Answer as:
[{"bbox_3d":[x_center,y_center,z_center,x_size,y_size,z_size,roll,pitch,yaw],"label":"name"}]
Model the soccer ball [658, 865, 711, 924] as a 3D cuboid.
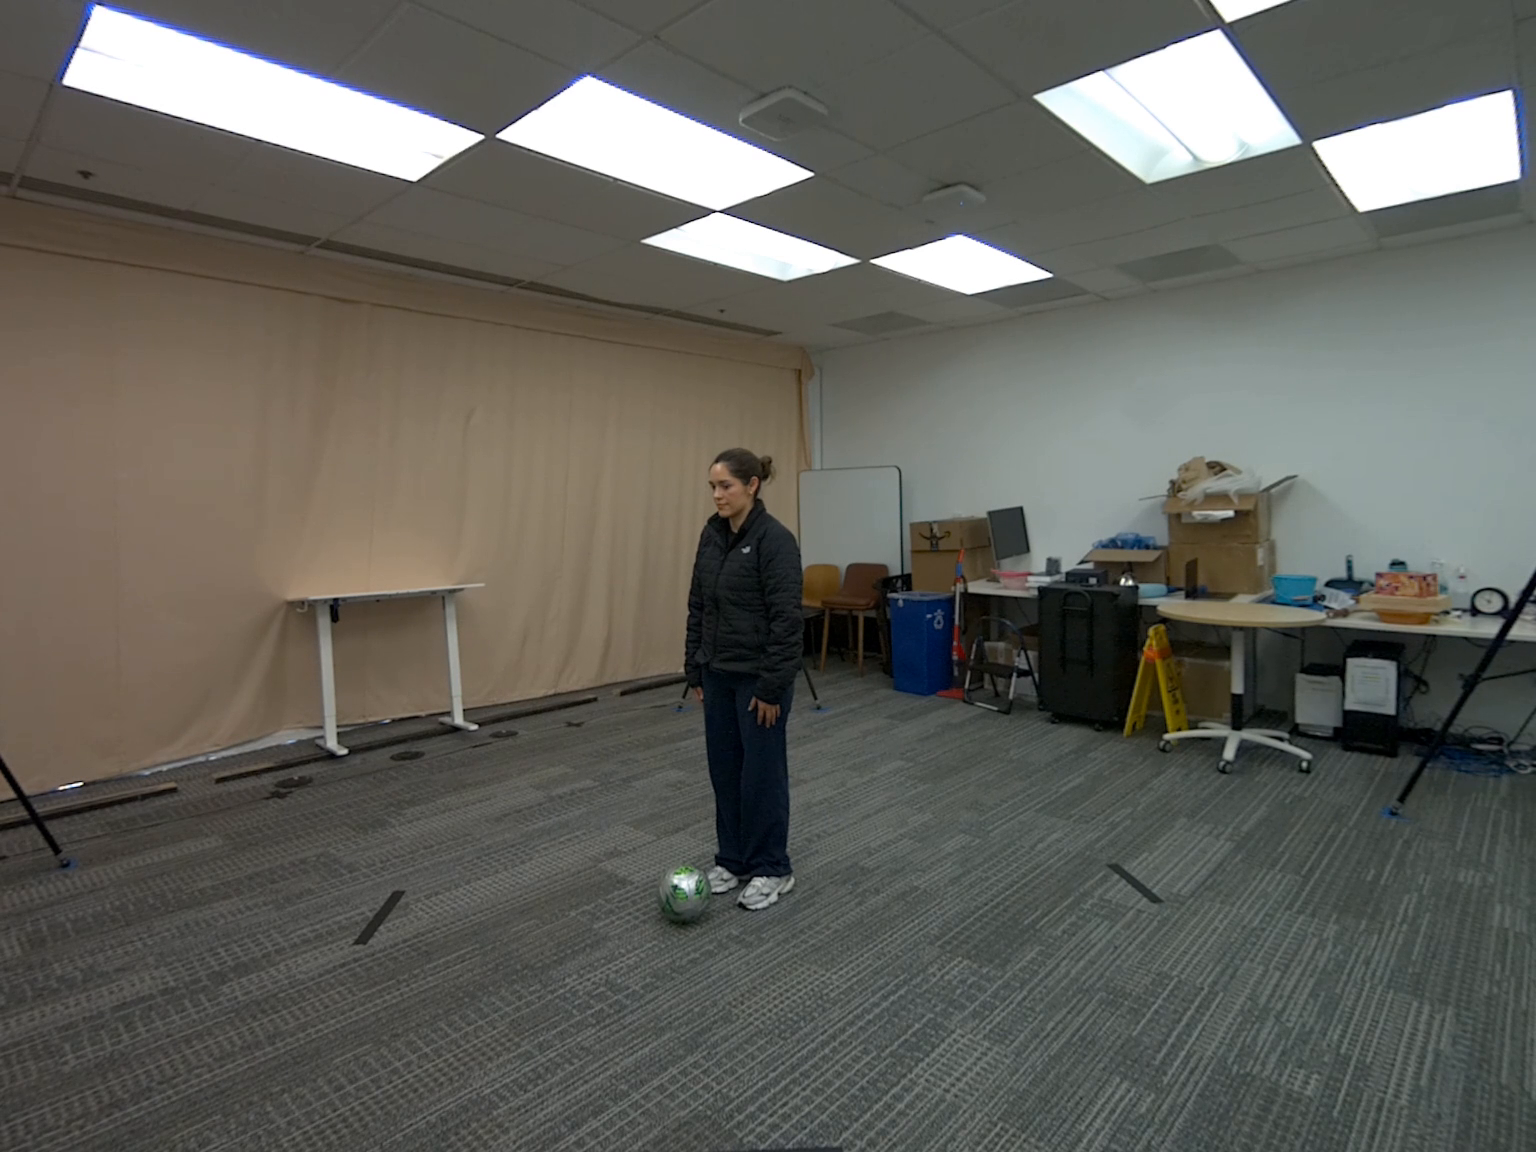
[{"bbox_3d":[-0.283,1.063,2.829,0.187,0.187,0.188,-1,4,-2],"label":"soccer ball"}]
